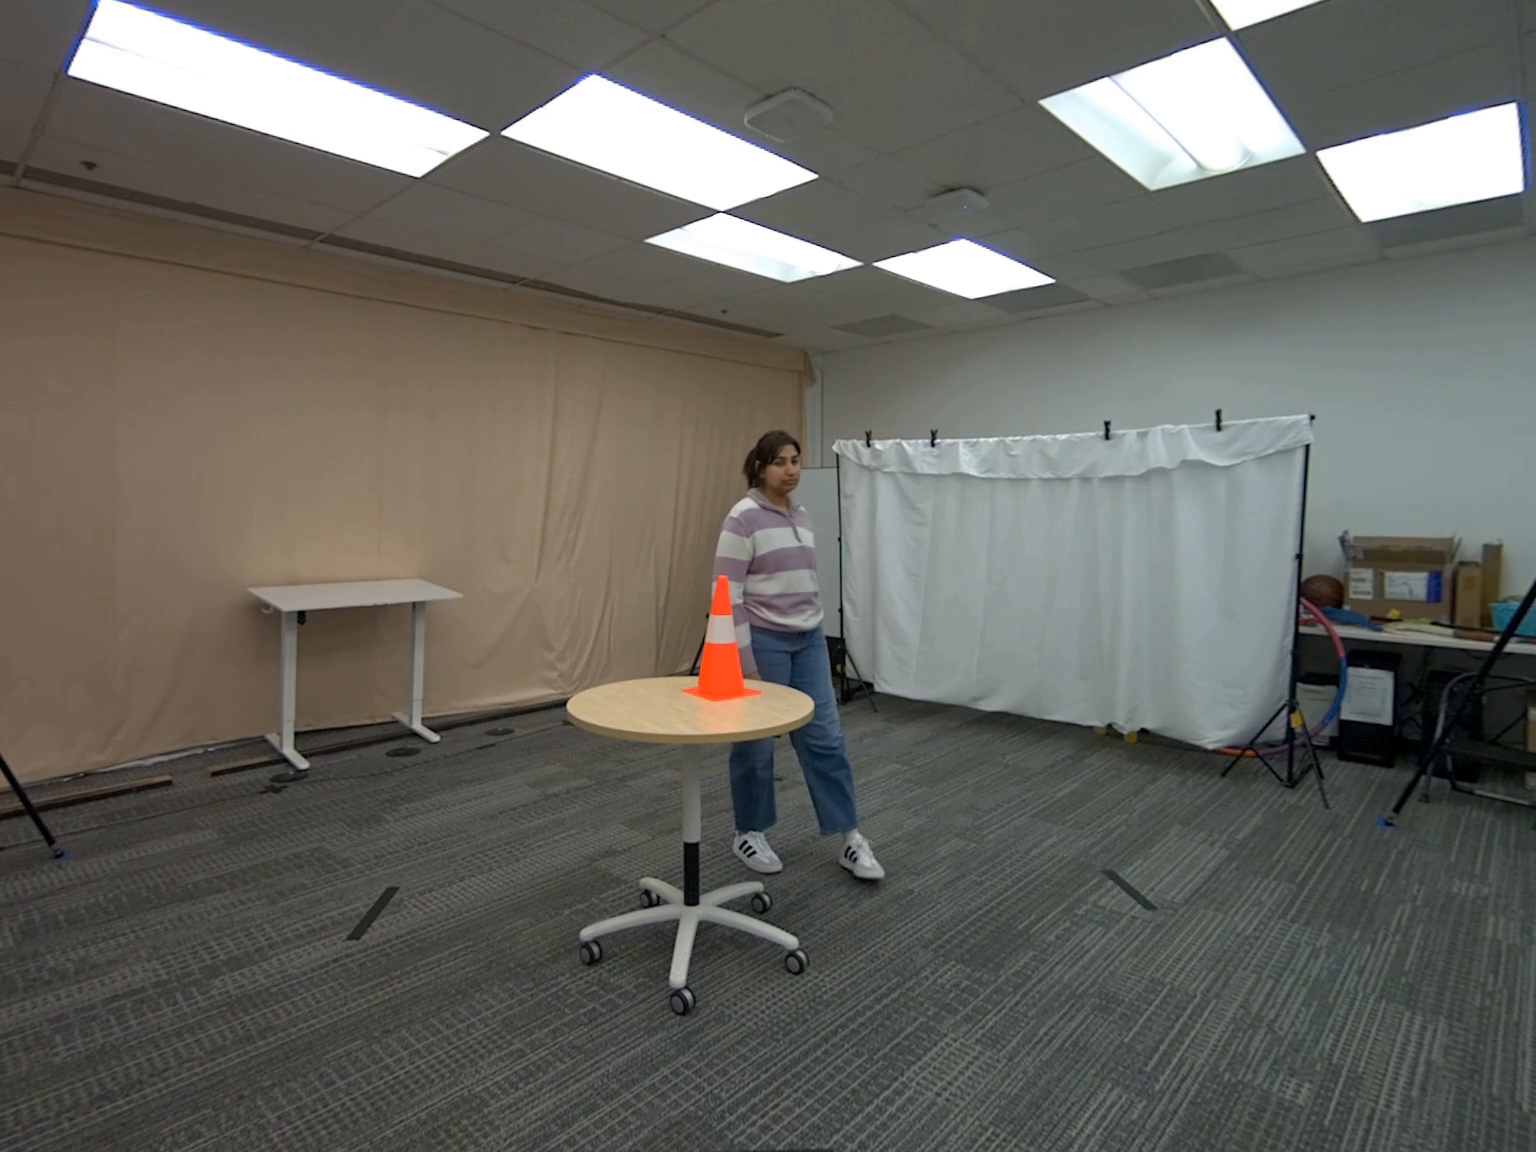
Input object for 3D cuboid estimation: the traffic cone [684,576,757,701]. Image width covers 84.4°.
[{"bbox_3d":[-0.156,0.194,2.746,0.209,0.383,0.200,1,4,26],"label":"traffic cone"}]
